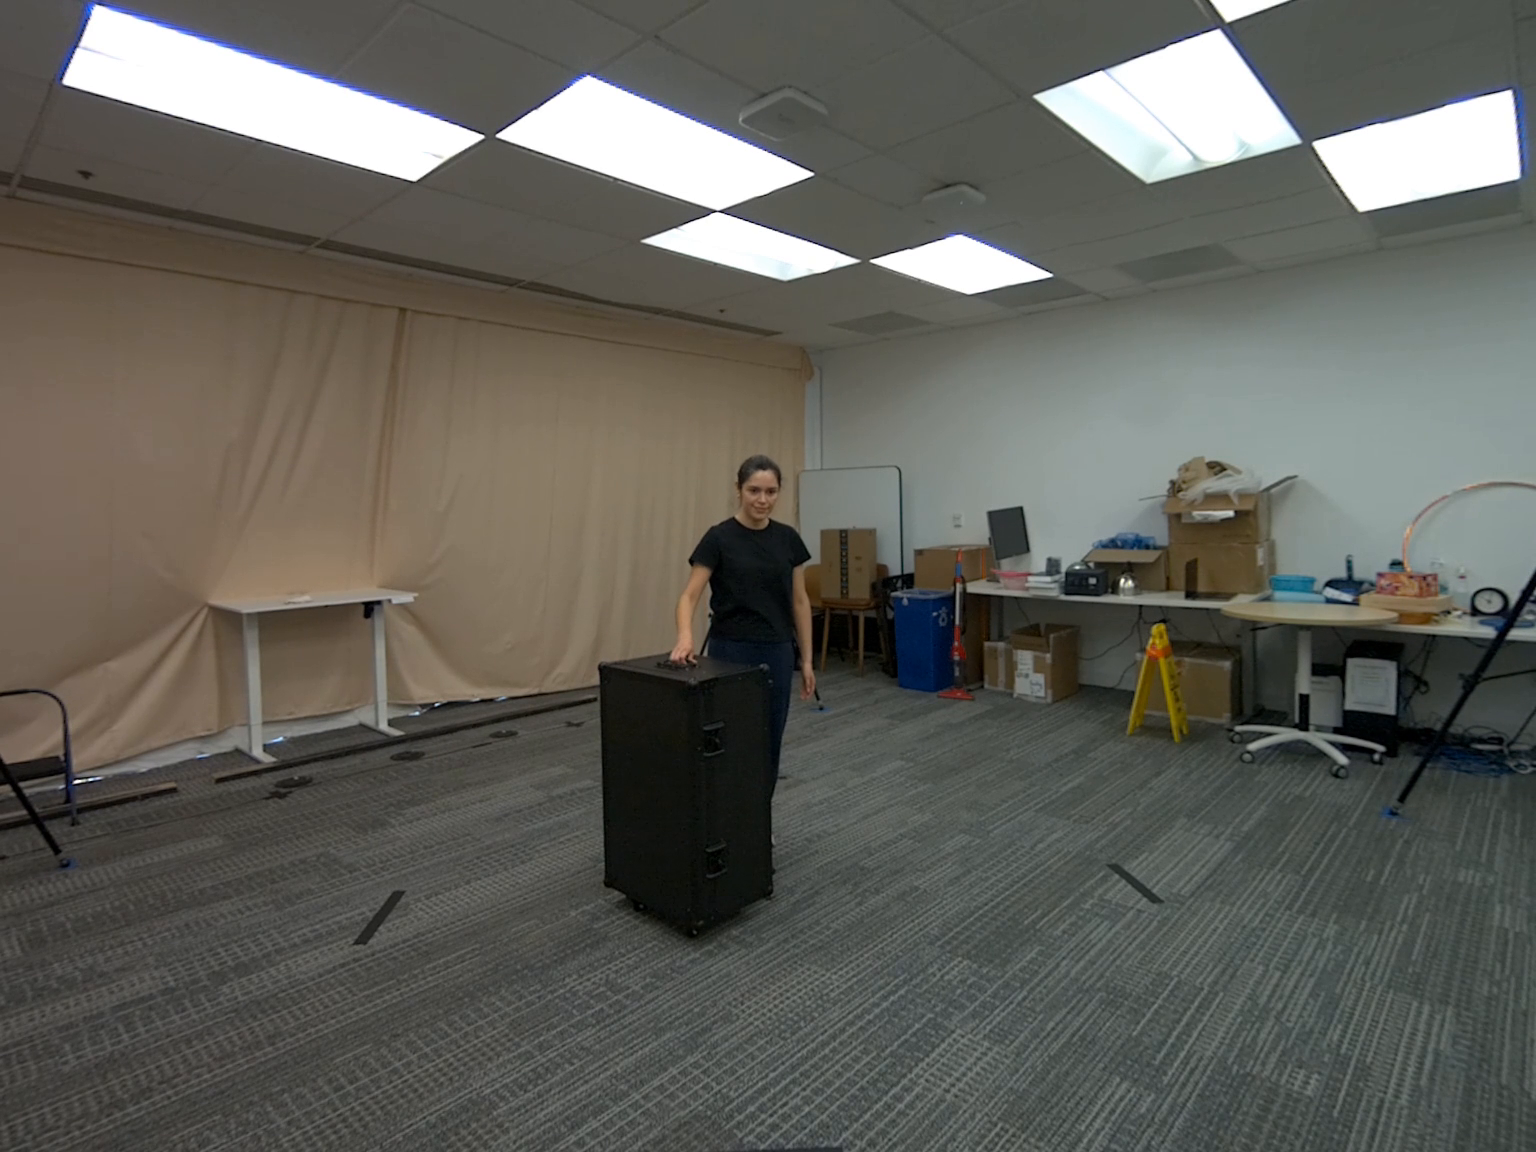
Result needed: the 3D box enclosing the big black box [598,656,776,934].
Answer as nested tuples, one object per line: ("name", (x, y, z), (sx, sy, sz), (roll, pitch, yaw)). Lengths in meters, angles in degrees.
("big black box", (-0.267, 0.731, 2.901), (0.538, 0.860, 0.384), (2, 3, 43))
